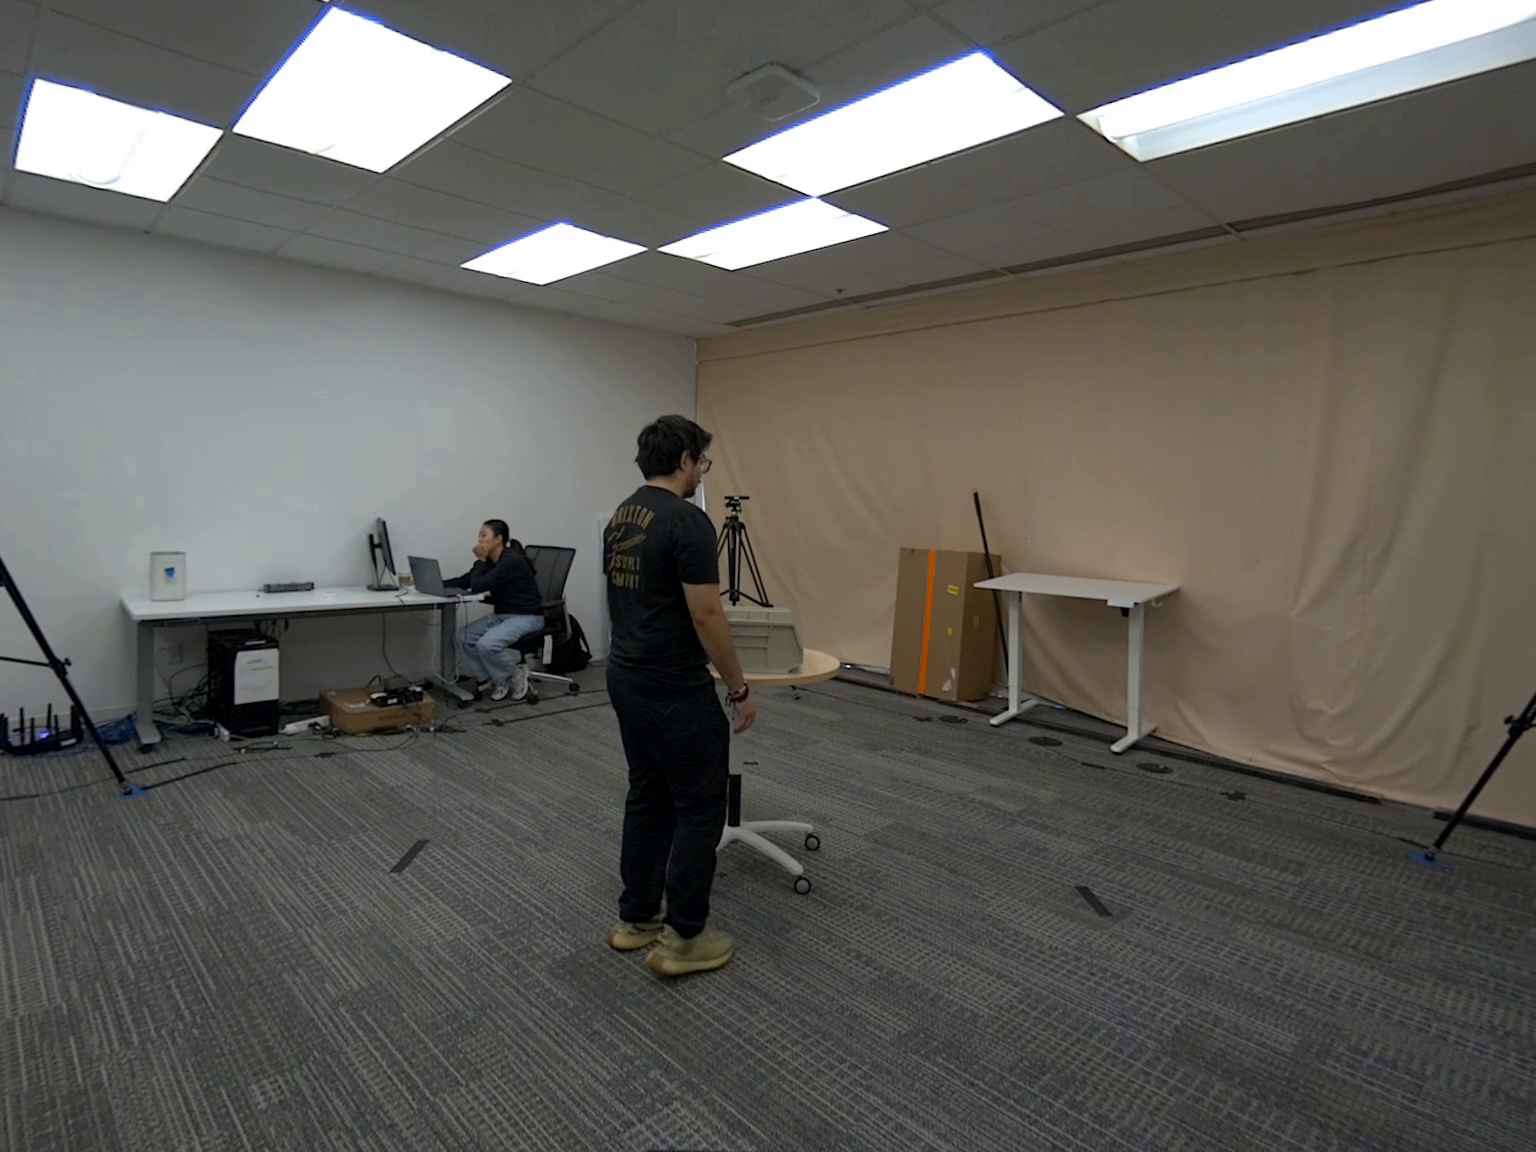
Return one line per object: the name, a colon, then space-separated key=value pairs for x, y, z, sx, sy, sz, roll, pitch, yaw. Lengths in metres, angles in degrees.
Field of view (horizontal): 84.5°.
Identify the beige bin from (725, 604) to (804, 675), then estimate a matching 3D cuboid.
beige bin: x=-0.060 y=0.235 z=3.125 sx=0.377 sy=0.188 sz=0.423 roll=0 pitch=5 yaw=0
